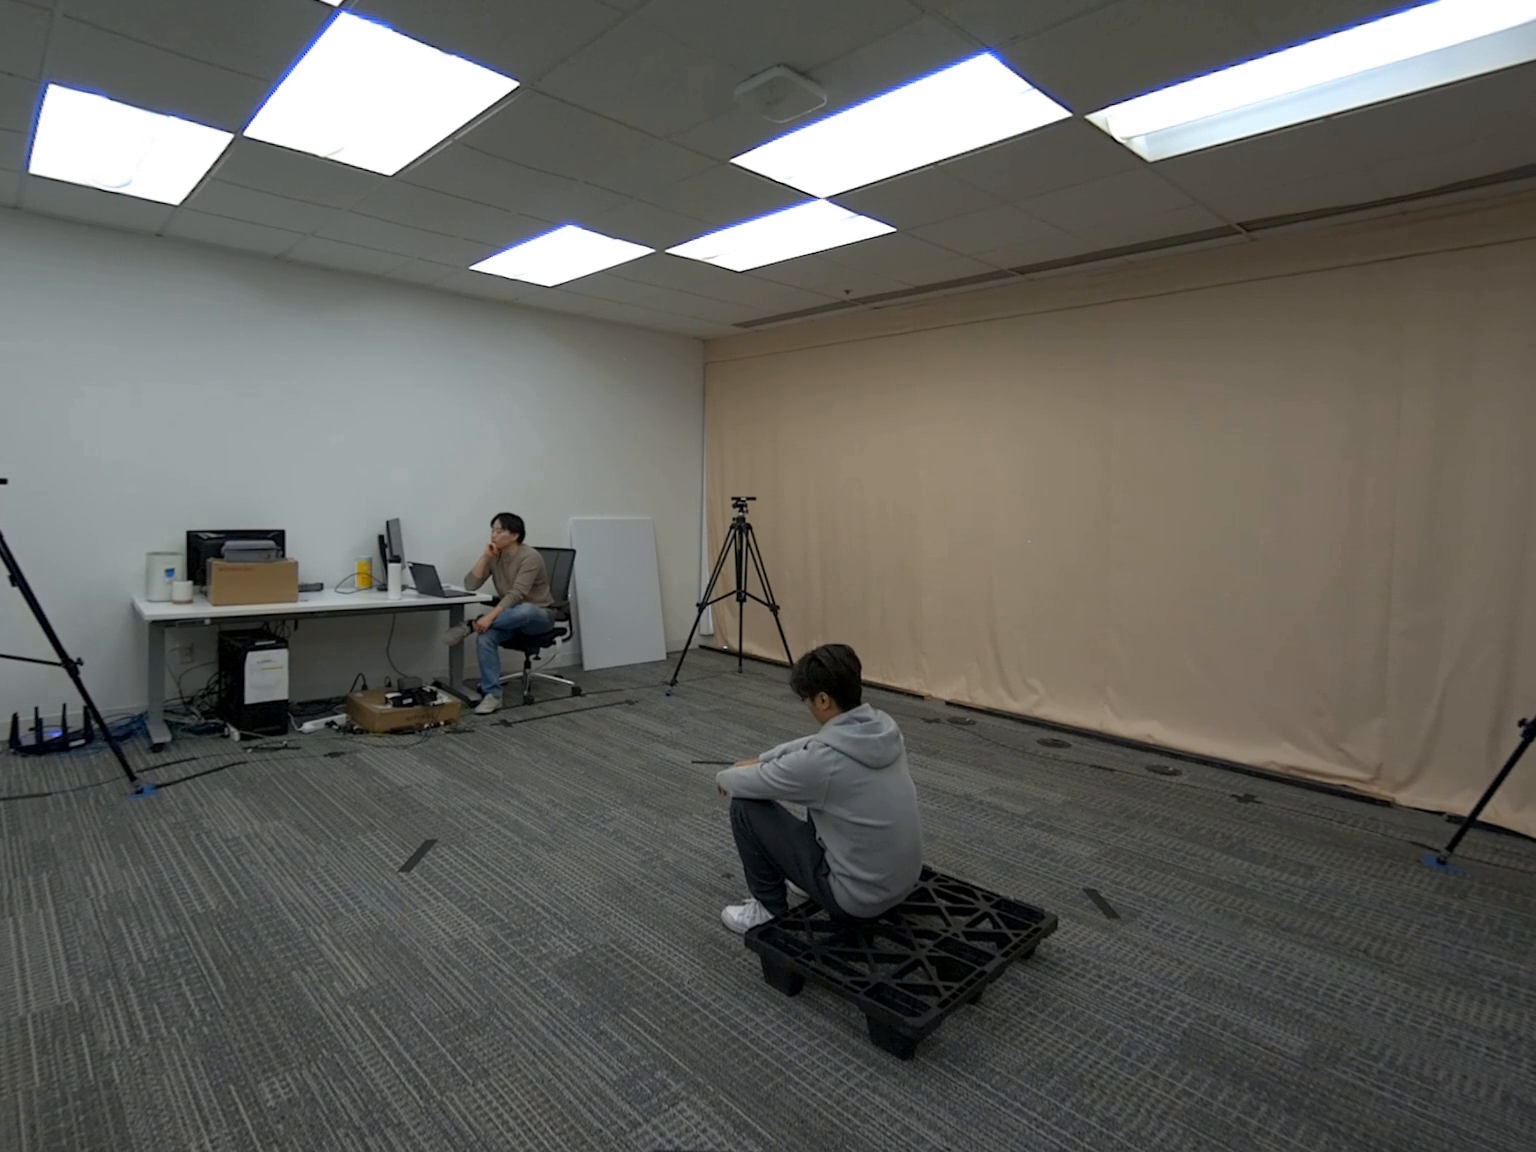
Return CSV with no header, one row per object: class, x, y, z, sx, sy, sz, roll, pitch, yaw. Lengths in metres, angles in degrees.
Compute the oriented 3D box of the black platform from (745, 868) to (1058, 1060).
black platform,0.399,1.108,2.519,0.621,0.143,0.787,6,7,42
